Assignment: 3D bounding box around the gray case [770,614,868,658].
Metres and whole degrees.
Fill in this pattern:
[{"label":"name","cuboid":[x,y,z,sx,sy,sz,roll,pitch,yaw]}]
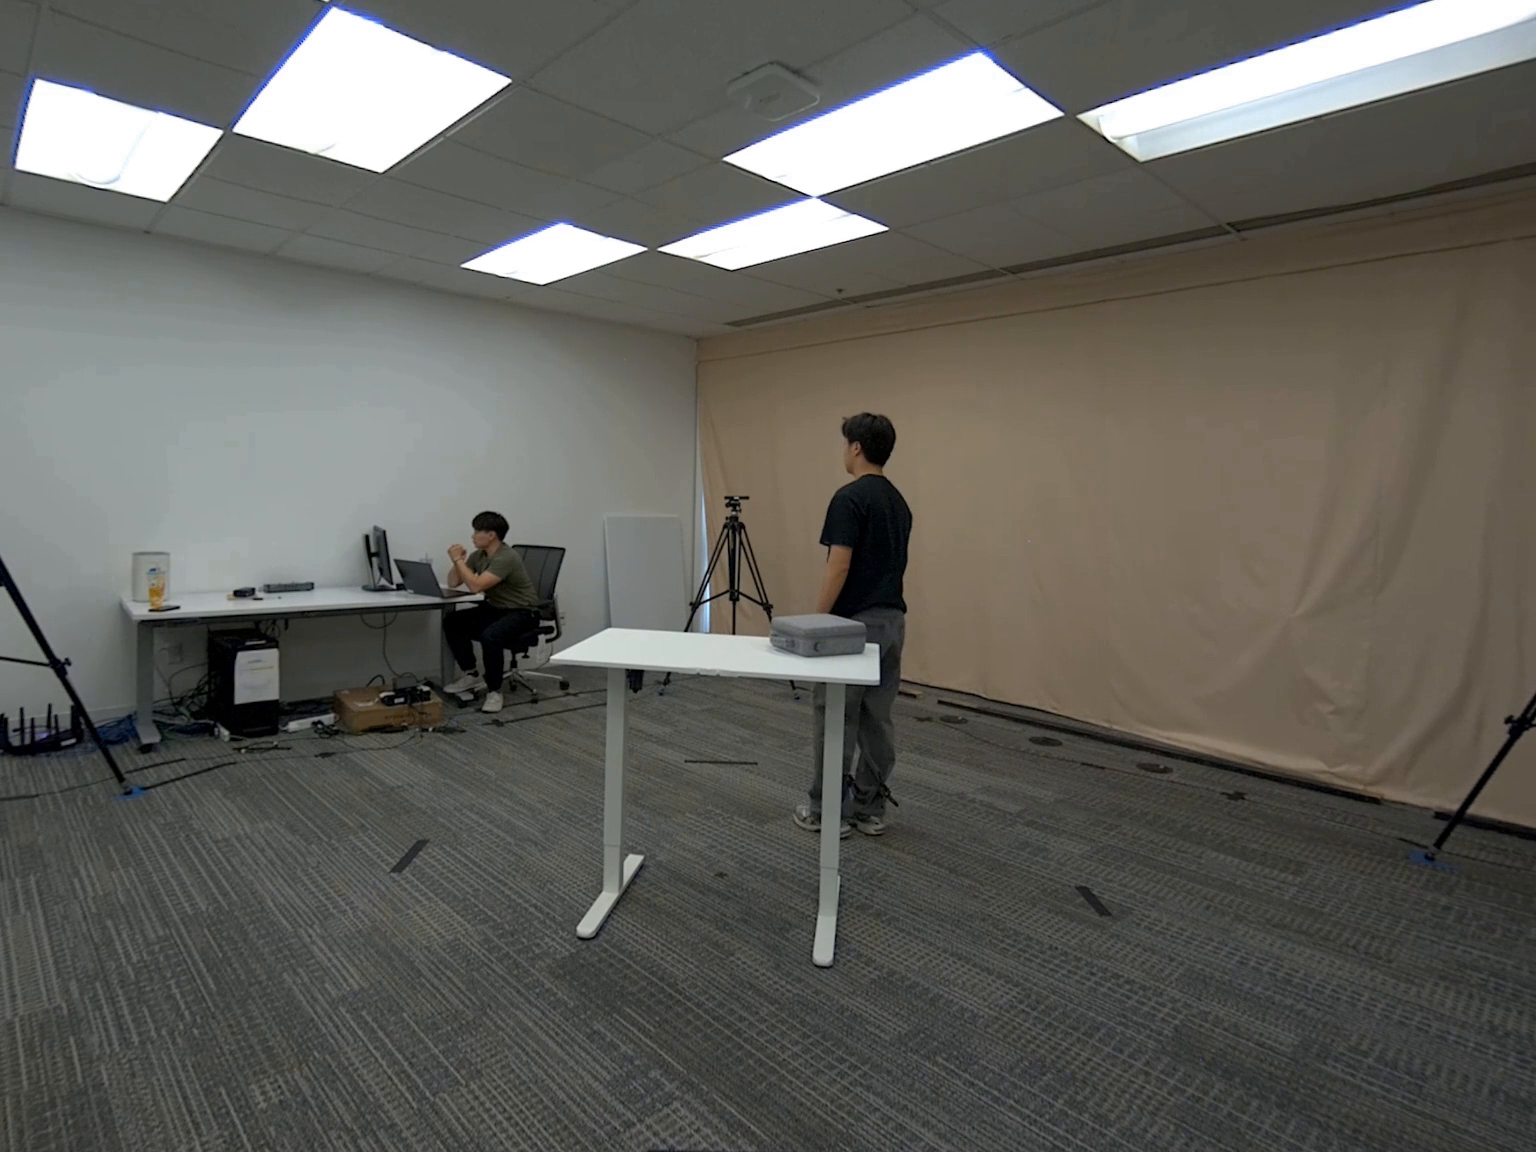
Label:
[{"label":"gray case","cuboid":[0.160,0.194,2.844,0.259,0.103,0.292,0,3,-19]}]
